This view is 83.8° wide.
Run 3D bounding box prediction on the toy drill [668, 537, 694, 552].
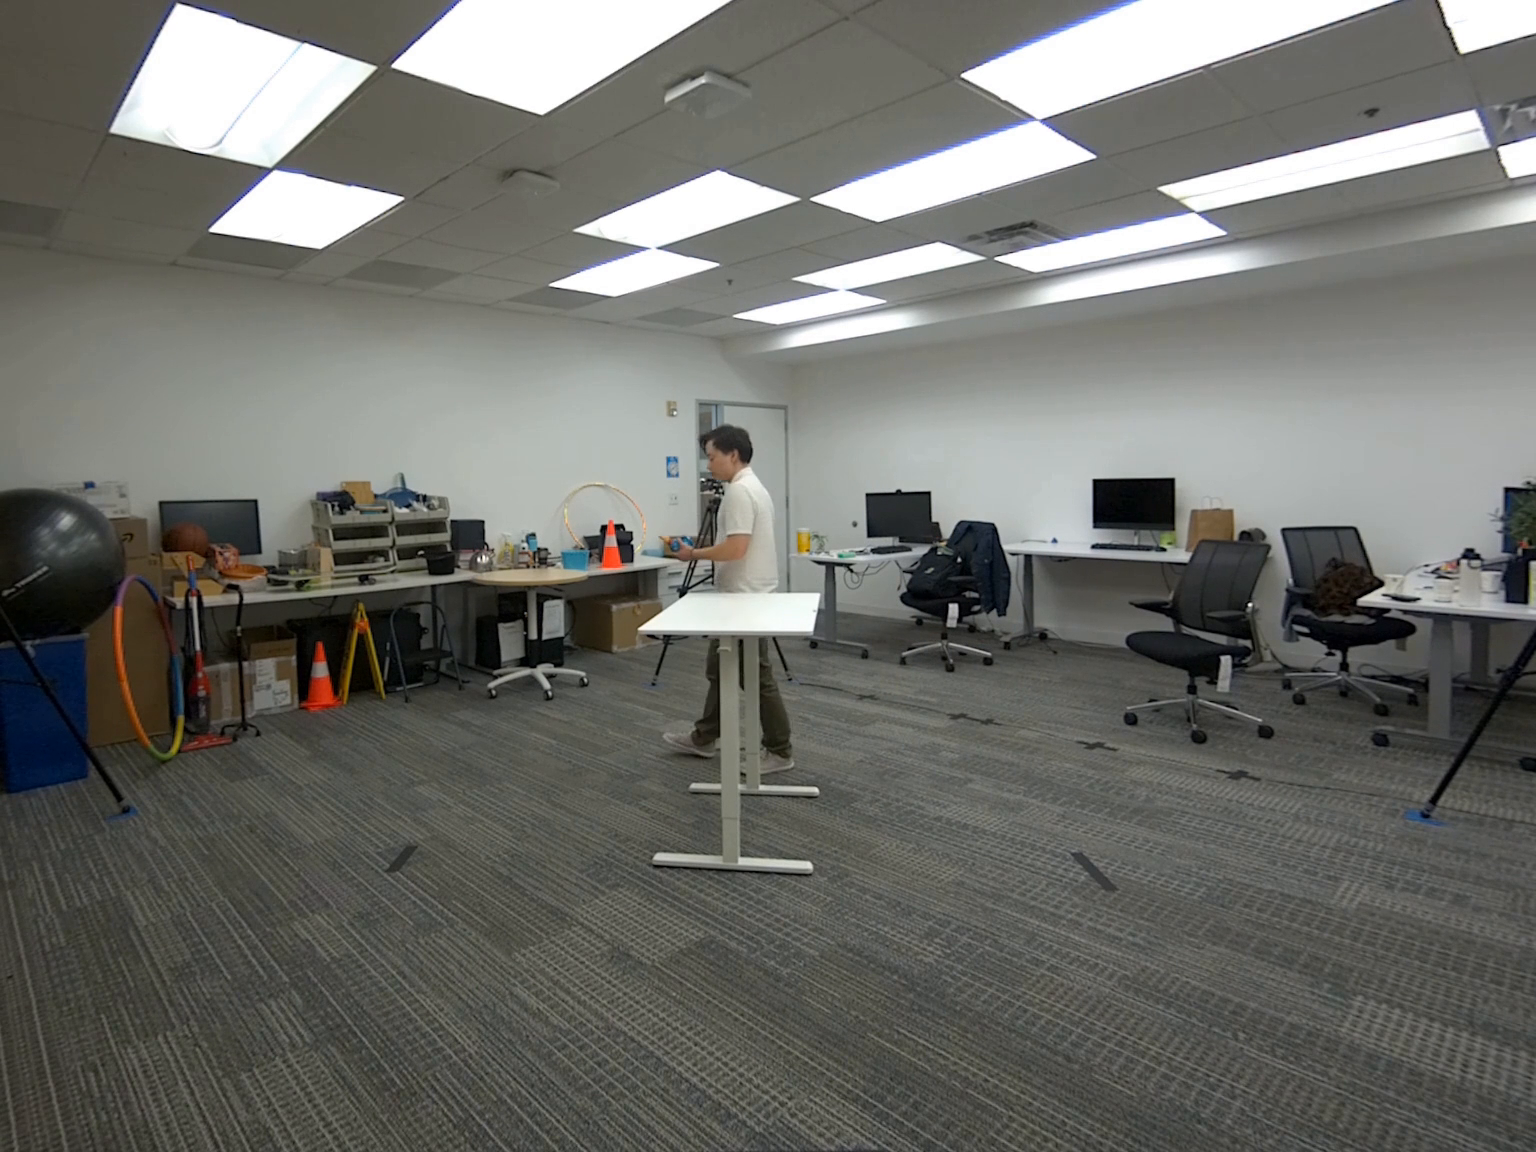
[{"bbox_3d":[-0.433,-0.166,4.103,0.171,0.061,0.146,26,19,3],"label":"toy drill"}]
